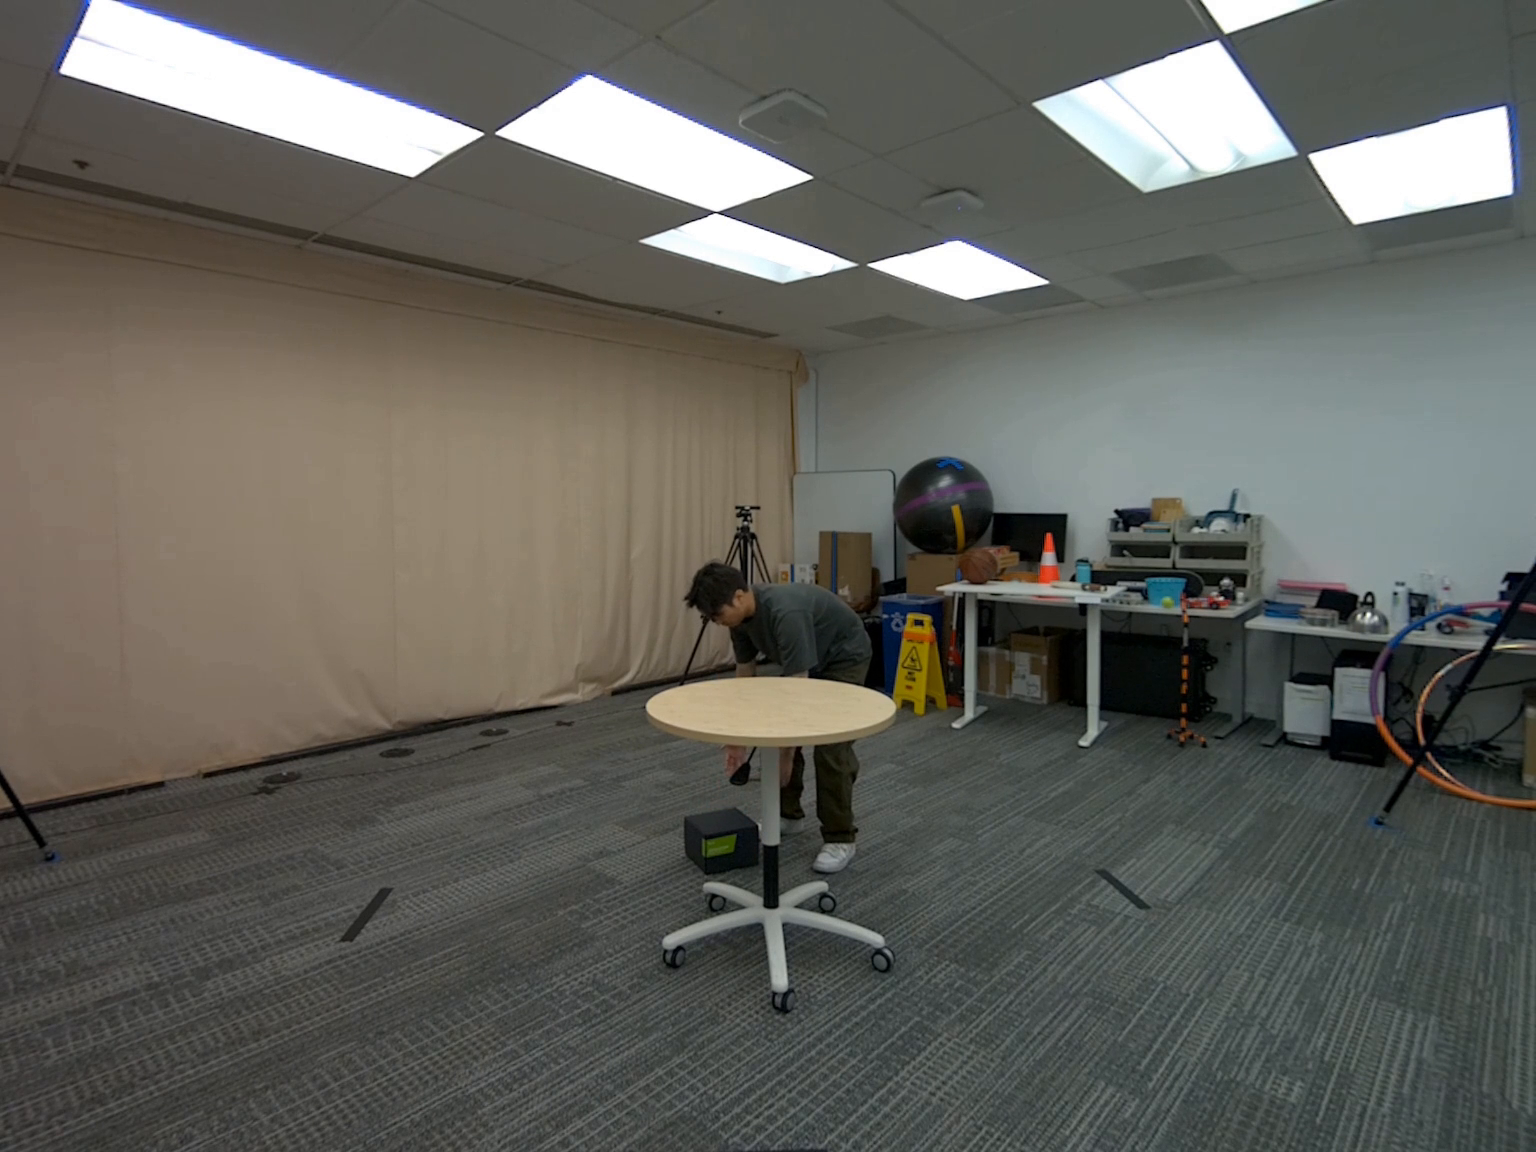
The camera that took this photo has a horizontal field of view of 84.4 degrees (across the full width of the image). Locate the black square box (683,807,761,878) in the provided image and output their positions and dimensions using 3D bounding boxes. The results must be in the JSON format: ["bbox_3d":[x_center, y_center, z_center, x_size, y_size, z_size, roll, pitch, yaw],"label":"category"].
[{"bbox_3d":[-0.183,1.033,3.309,0.222,0.155,0.223,-3,5,-27],"label":"black square box"}]
